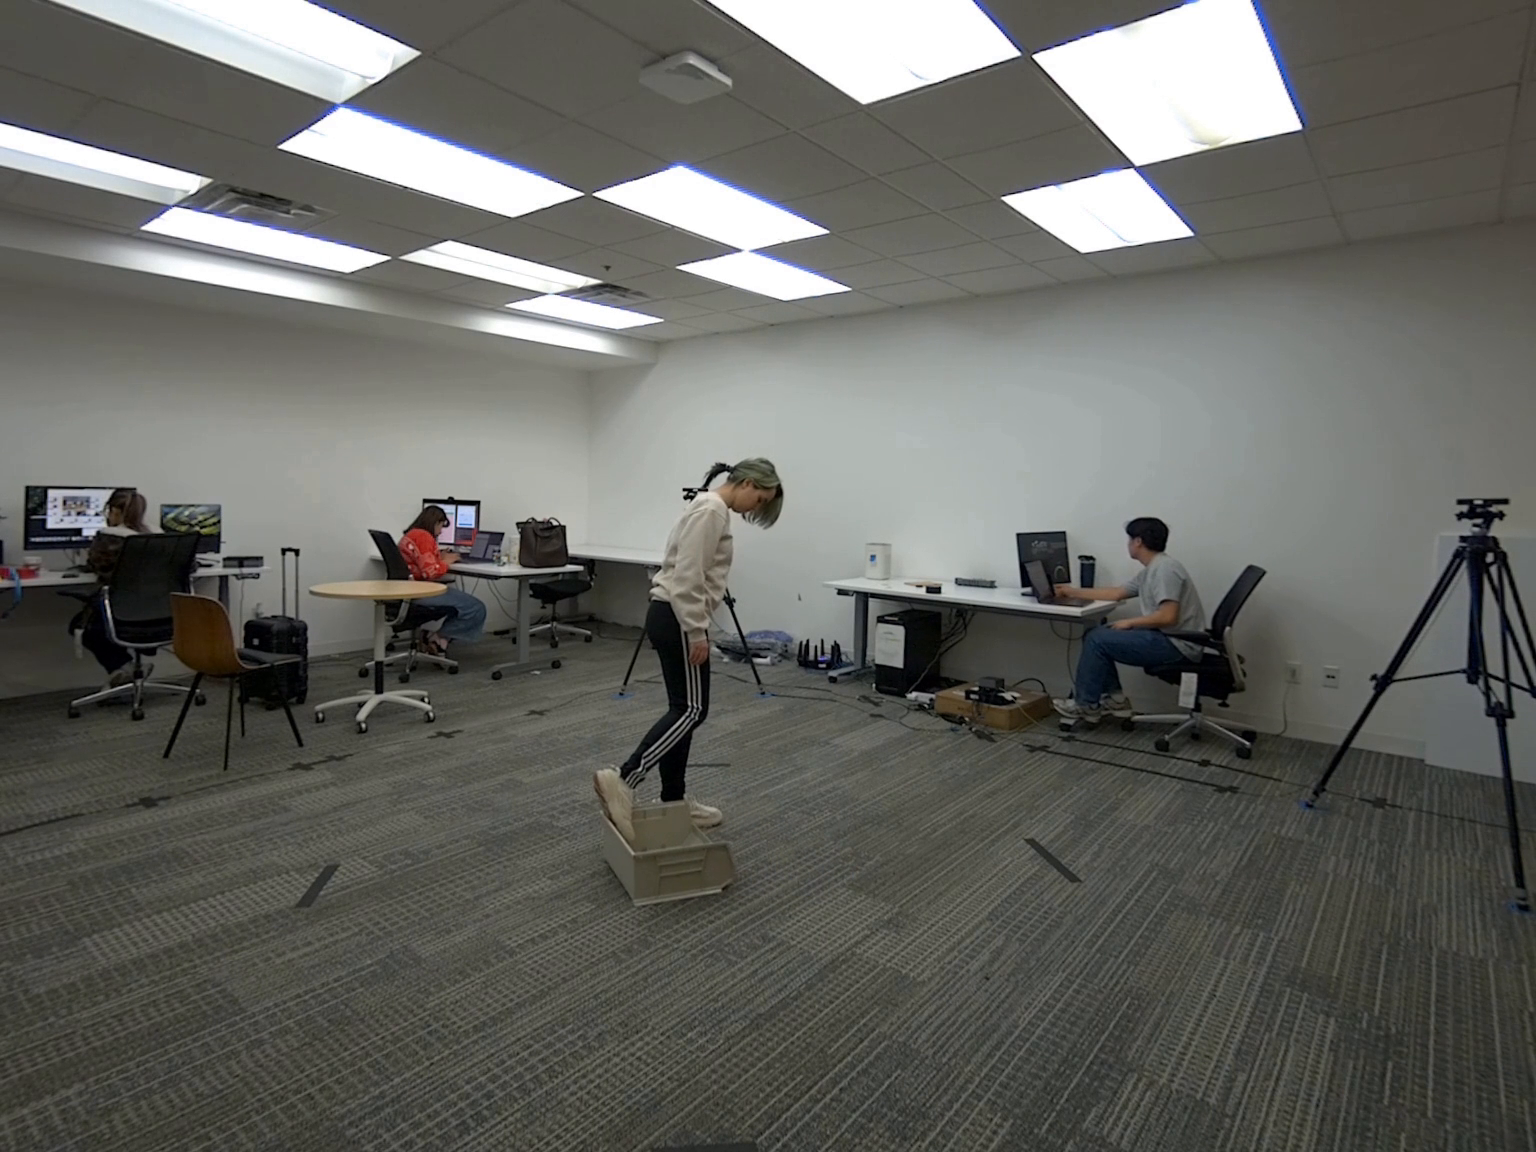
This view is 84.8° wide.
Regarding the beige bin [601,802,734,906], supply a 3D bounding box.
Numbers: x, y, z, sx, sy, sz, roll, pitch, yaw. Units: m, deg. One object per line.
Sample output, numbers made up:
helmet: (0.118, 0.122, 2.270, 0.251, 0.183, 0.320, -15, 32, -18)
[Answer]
beige bin: (-0.382, 0.980, 3.064, 0.369, 0.188, 0.434, -2, 6, -25)
